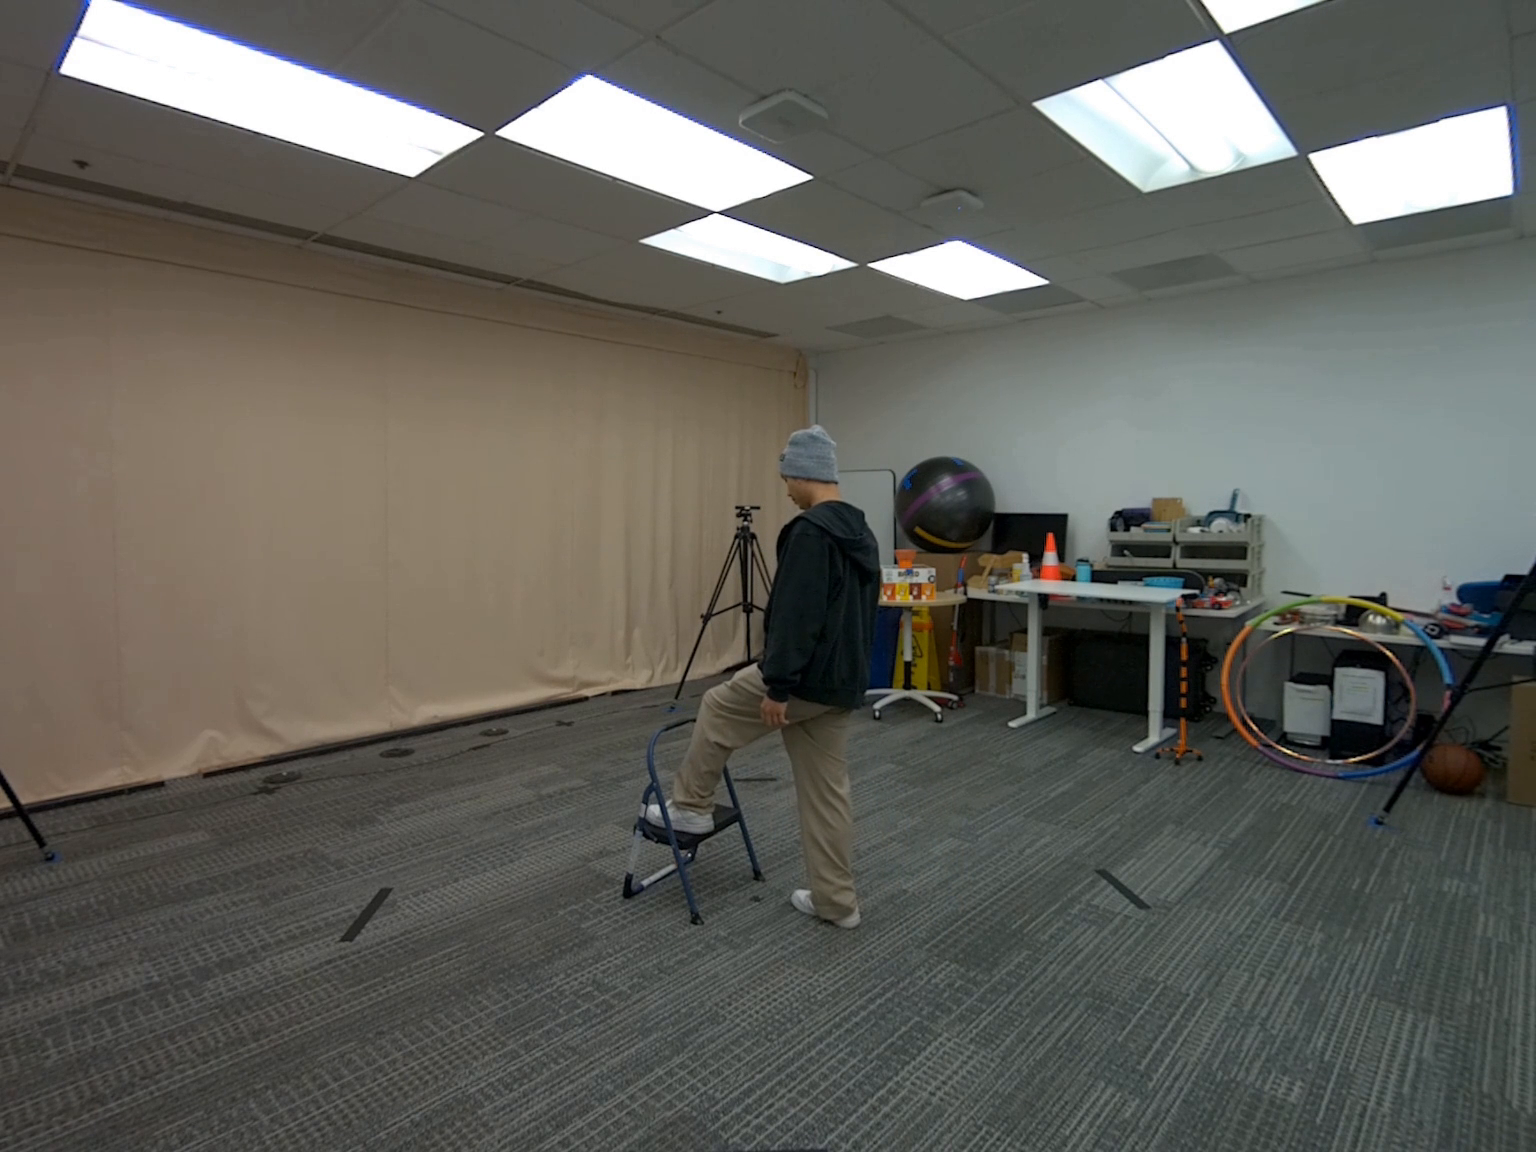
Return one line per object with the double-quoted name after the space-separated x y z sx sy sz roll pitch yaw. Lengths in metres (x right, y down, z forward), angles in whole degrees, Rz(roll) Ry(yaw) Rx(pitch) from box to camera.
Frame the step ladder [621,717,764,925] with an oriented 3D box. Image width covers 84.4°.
-0.269 0.837 3.055 0.360 0.605 0.418 1 4 33 "step ladder"
